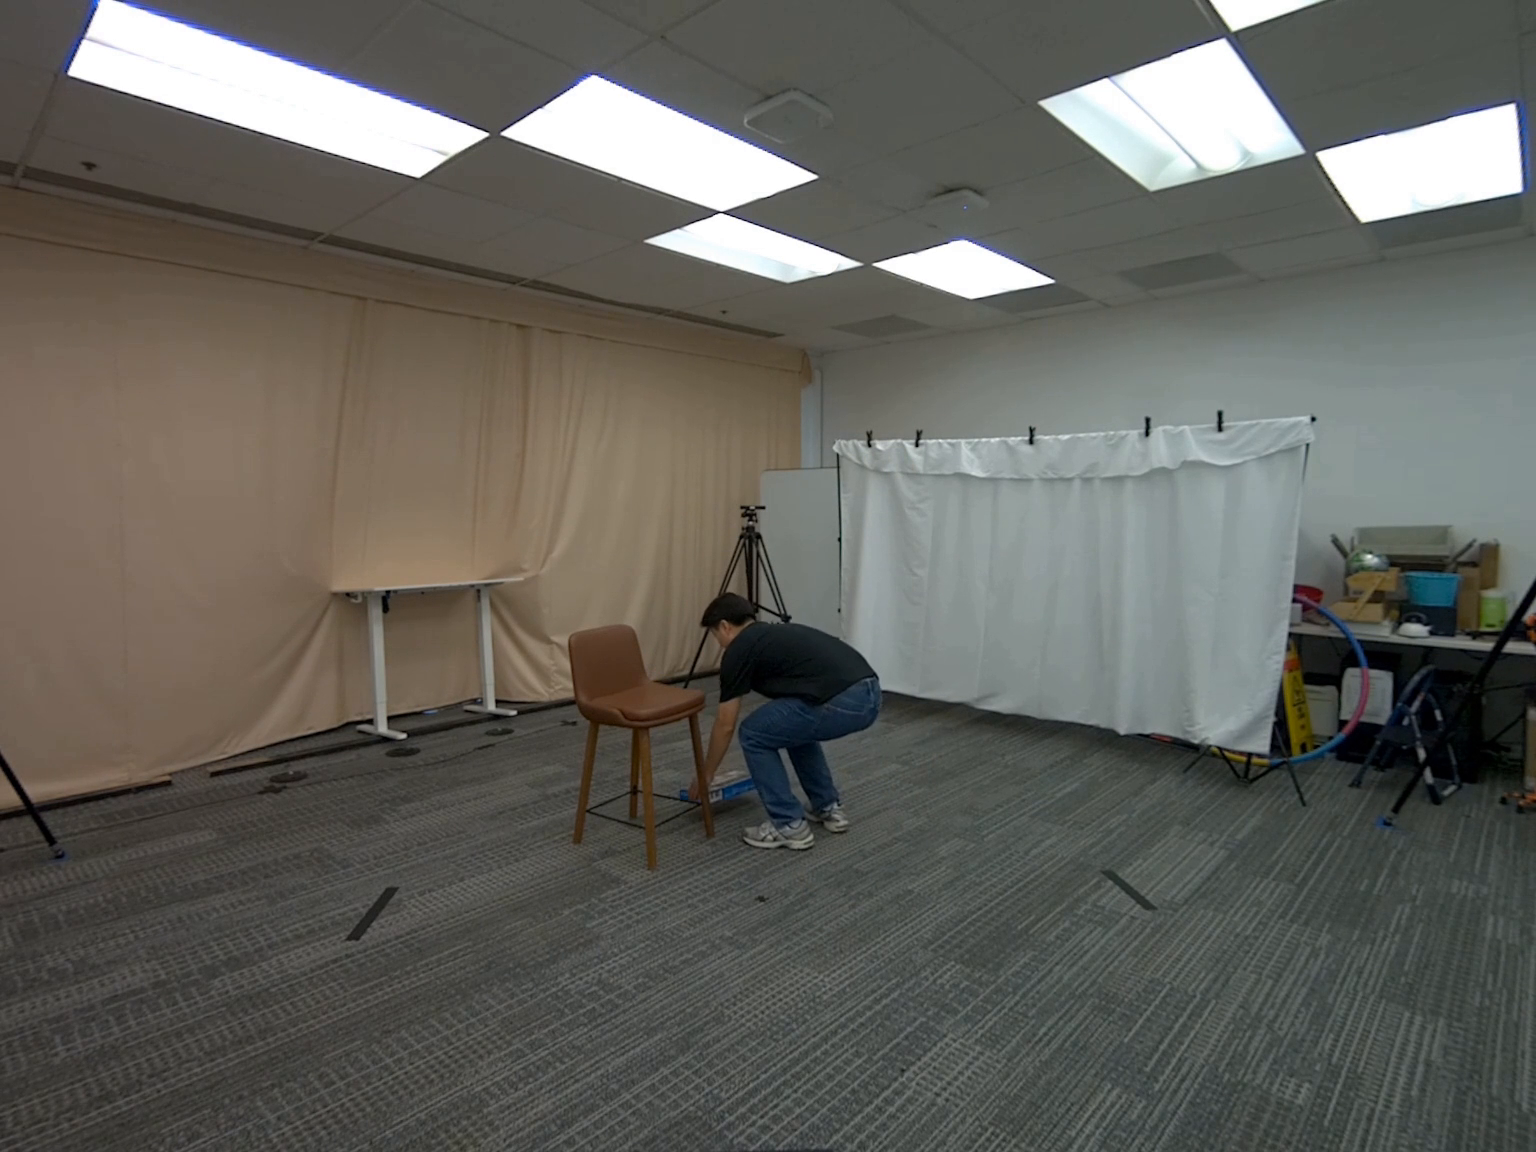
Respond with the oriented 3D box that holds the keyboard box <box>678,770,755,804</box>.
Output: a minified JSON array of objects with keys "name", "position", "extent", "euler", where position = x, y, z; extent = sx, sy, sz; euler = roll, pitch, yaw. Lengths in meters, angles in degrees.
[{"name":"keyboard box","position":[-0.194,0.961,3.878],"extent":[0.181,0.059,0.423],"euler":[-4,1,43]}]
